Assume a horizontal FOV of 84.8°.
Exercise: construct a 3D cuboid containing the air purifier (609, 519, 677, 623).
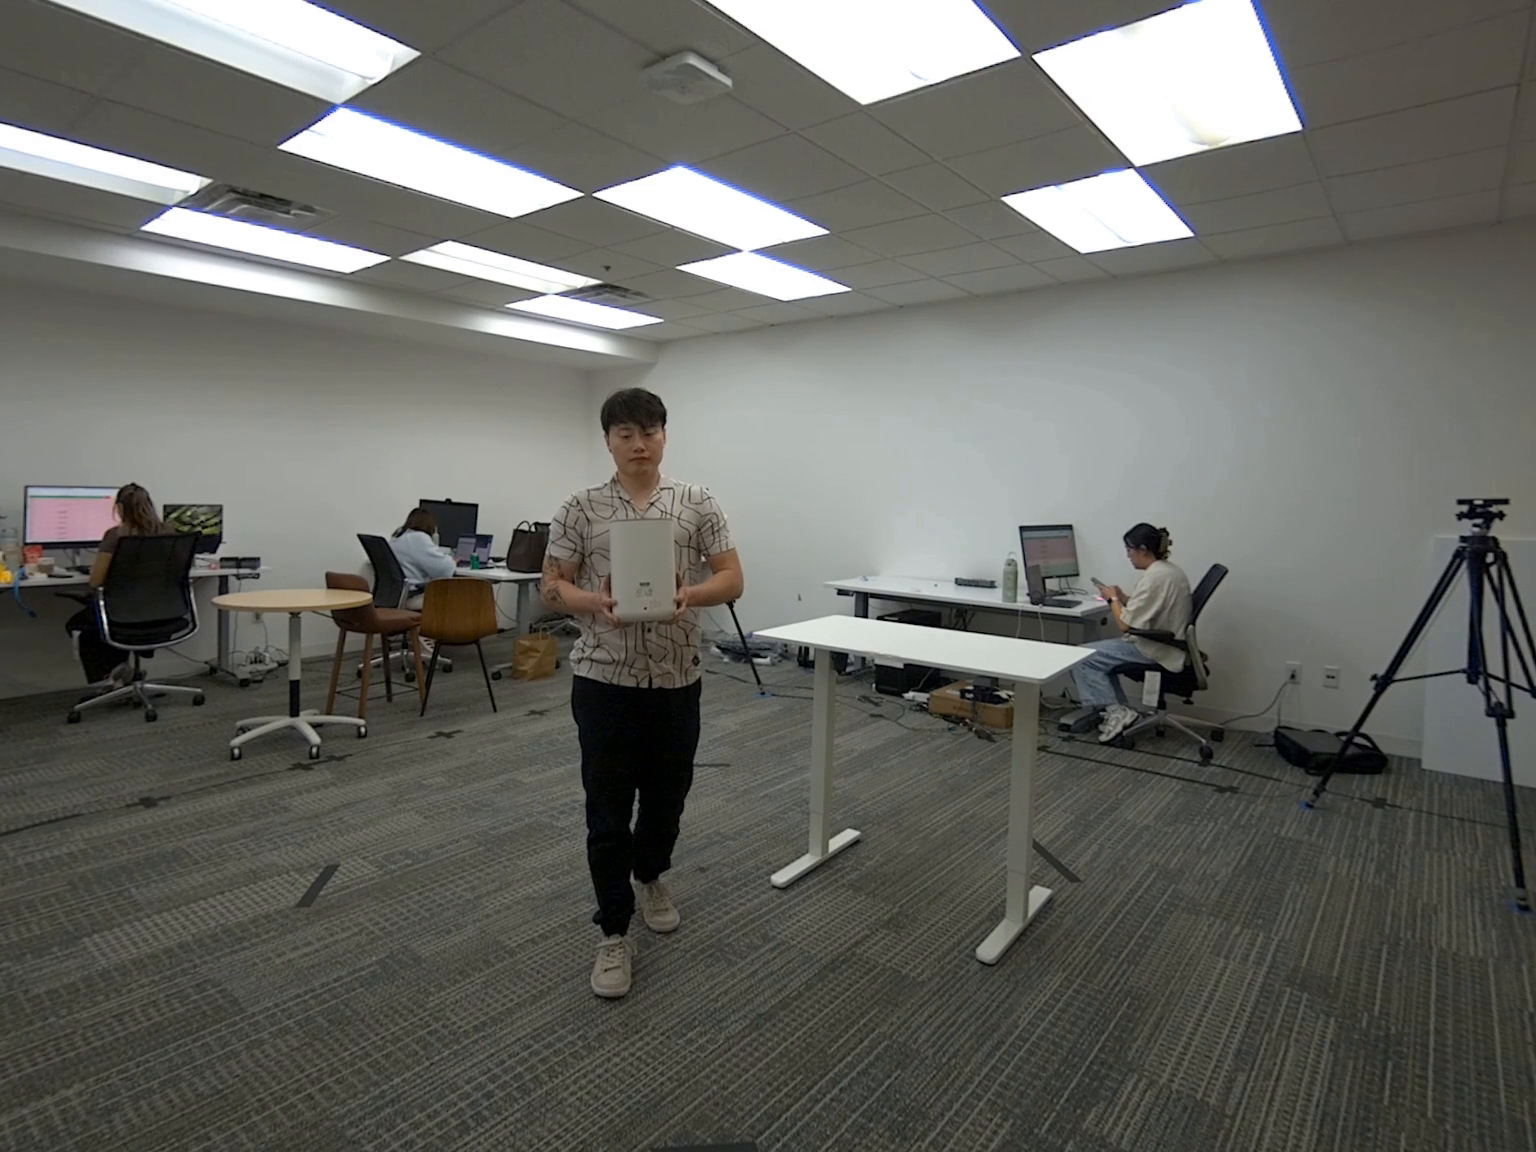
[{"bbox_3d":[-0.340,-0.016,2.256,0.169,0.267,0.172,-1,-5,-11],"label":"air purifier"}]
